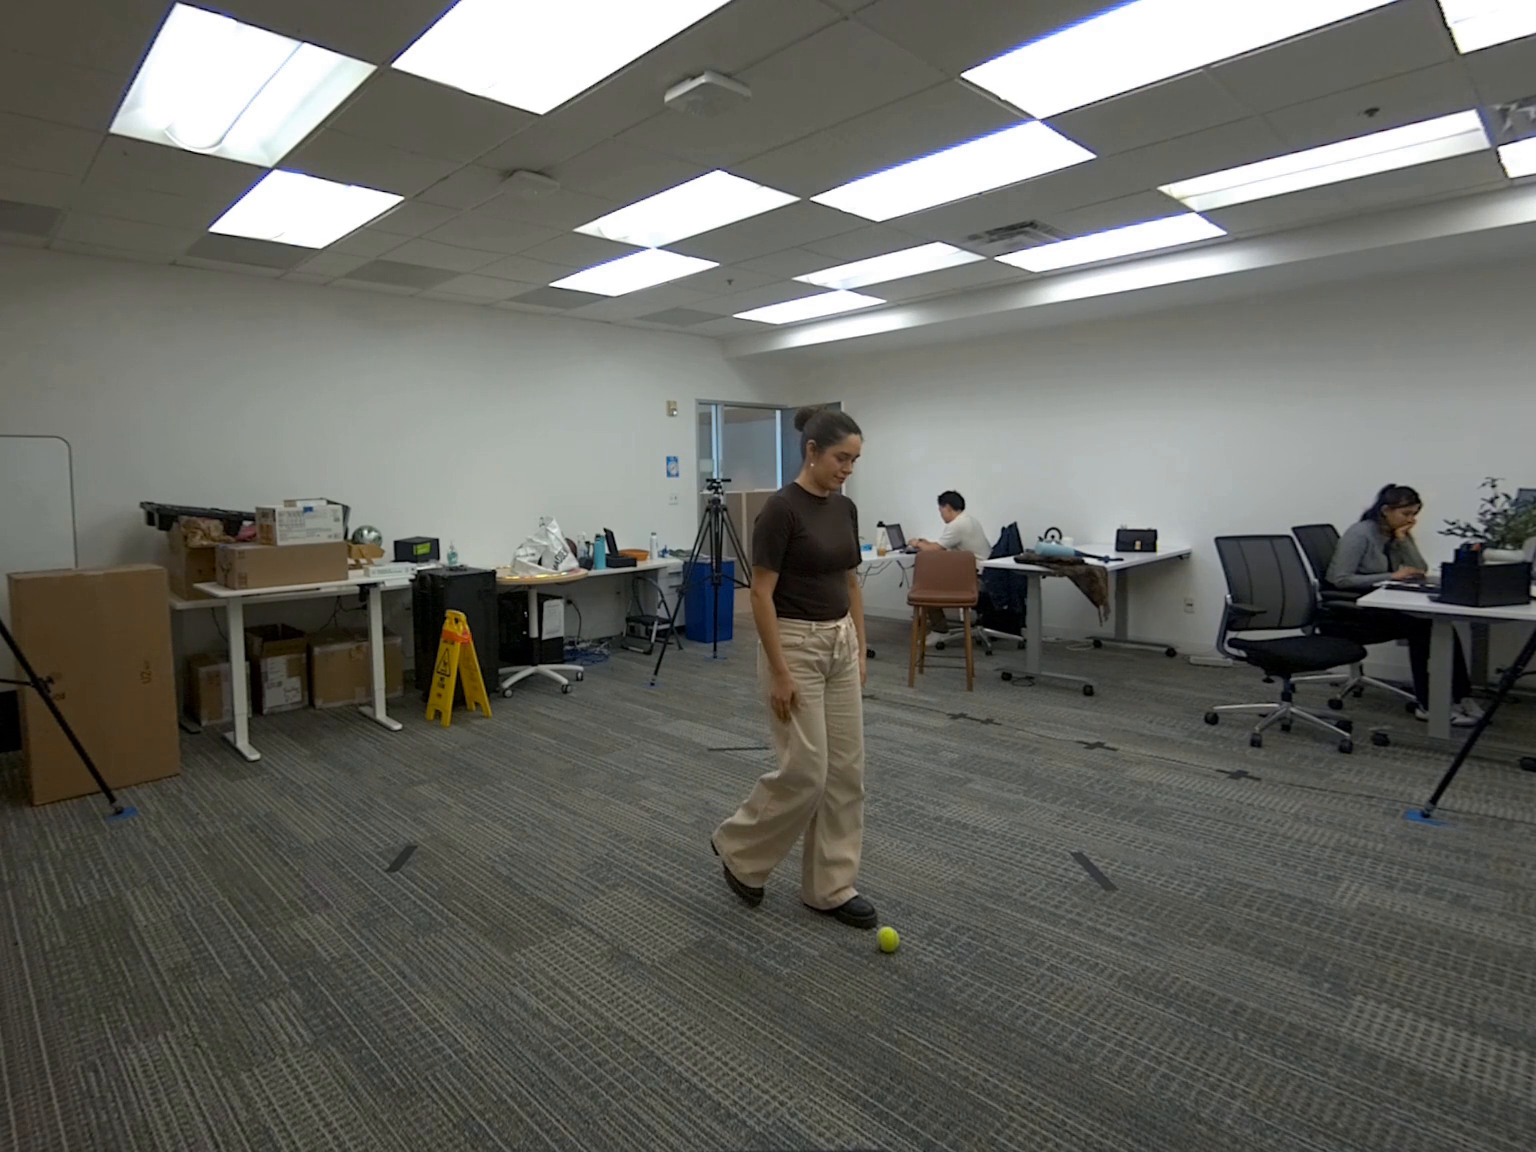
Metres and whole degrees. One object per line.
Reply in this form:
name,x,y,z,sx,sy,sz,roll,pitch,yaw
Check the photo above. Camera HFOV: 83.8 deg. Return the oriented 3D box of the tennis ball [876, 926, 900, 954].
tennis ball,0.358,1.059,2.516,0.066,0.066,0.067,-1,5,-2
